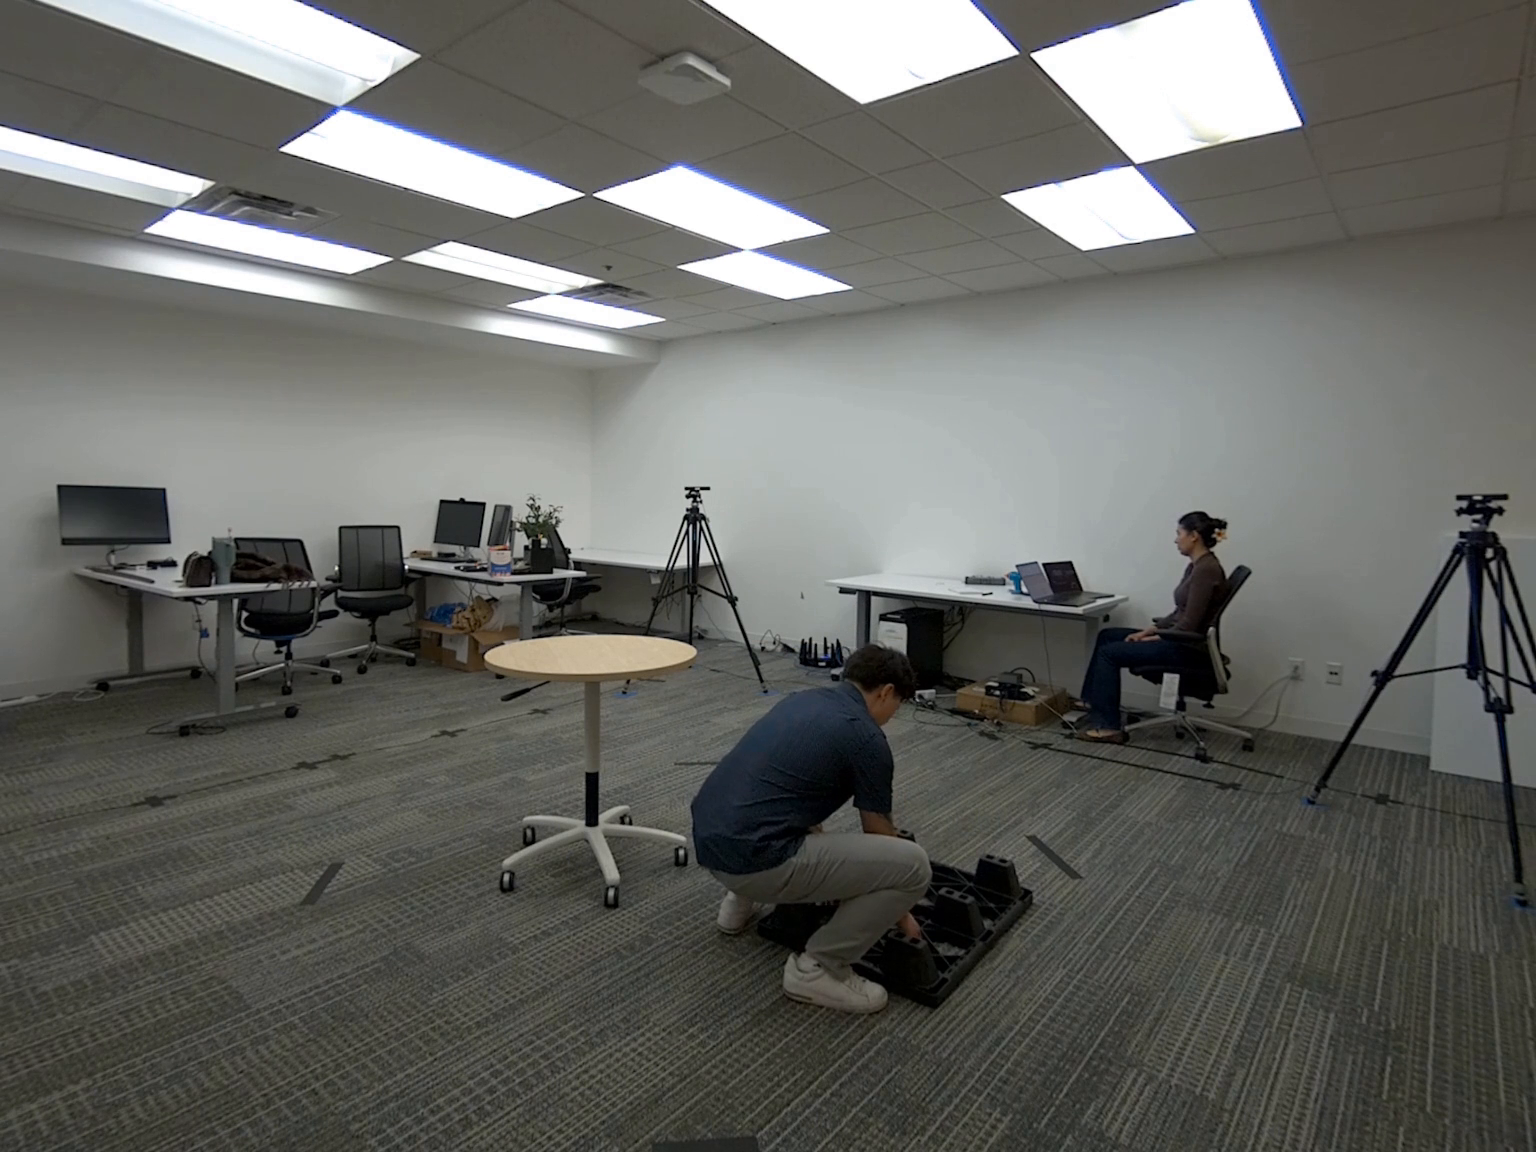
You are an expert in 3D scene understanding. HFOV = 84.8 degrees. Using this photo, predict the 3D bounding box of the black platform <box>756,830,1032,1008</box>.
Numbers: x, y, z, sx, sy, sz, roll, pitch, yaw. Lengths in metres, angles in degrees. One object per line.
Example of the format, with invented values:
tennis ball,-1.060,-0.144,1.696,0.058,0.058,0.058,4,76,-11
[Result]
black platform,0.434,1.044,2.767,0.625,0.143,0.783,4,7,36
